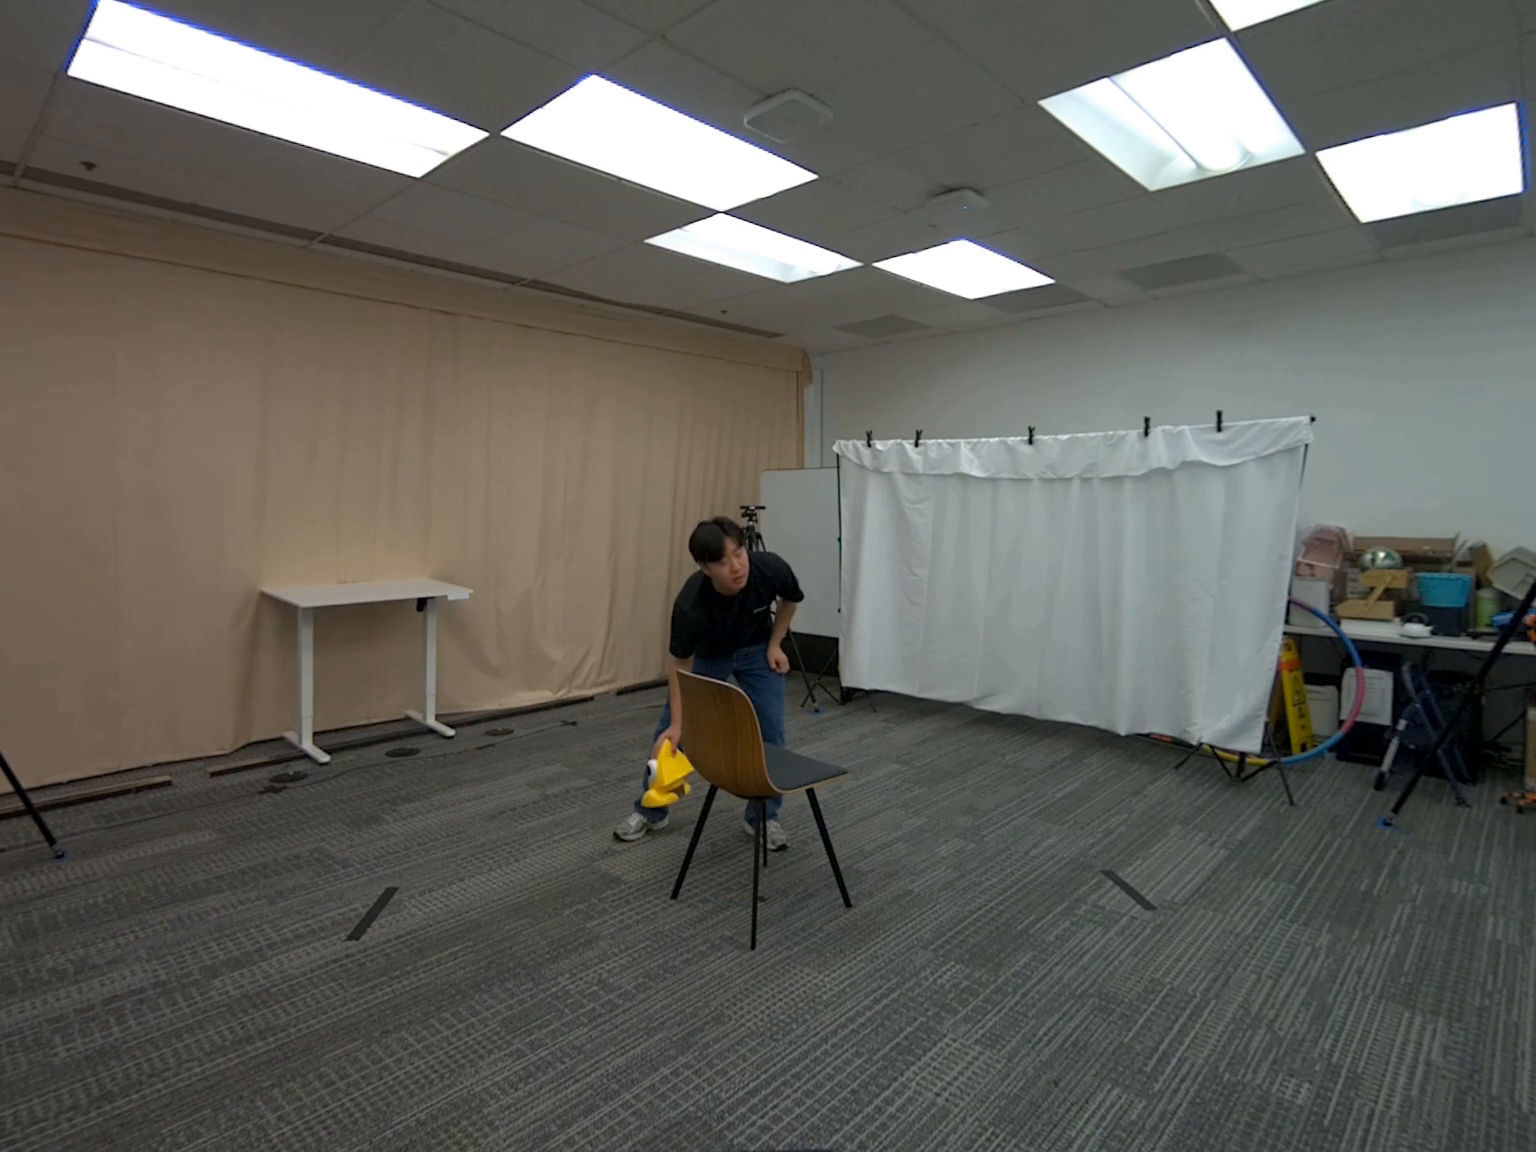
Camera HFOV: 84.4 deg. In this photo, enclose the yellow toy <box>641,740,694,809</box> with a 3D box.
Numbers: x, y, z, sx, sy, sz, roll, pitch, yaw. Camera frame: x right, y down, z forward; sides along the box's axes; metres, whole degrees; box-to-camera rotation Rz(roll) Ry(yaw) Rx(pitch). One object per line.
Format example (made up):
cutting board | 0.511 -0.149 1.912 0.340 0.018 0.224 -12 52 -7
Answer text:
yellow toy | -0.418 0.765 3.337 0.198 0.231 0.199 -12 0 34
